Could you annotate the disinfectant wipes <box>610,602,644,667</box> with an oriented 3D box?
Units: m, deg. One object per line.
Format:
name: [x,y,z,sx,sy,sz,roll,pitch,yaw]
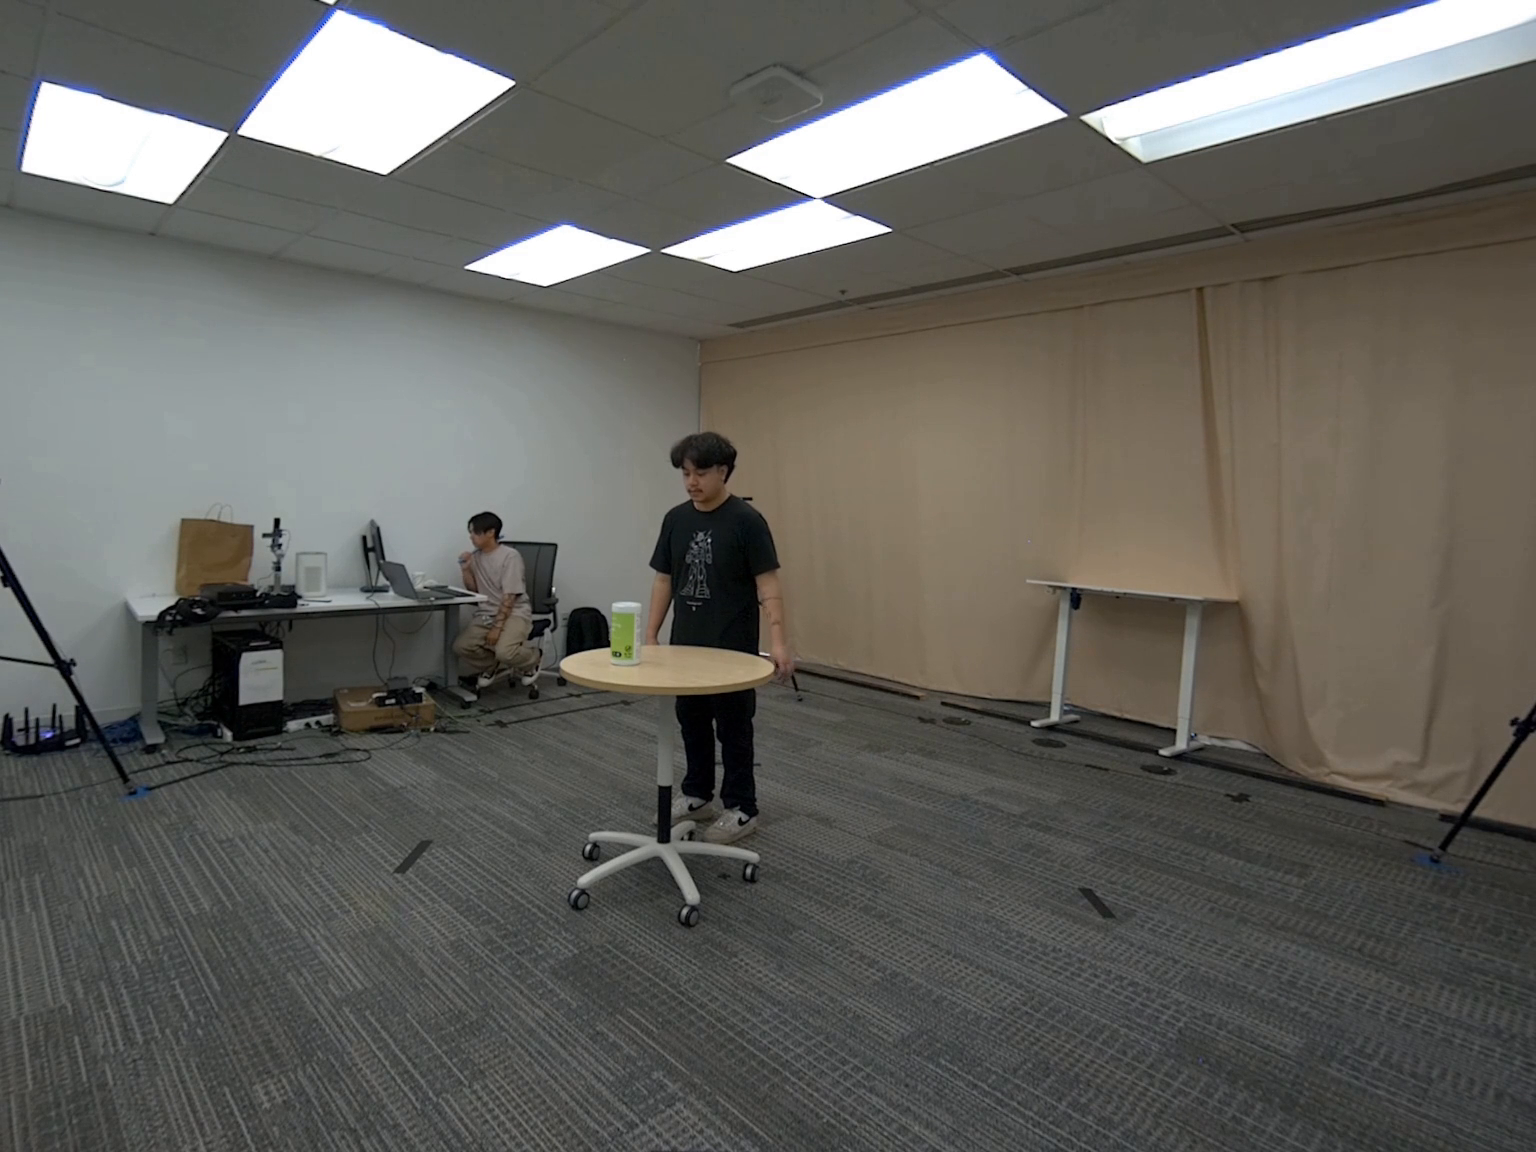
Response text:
disinfectant wipes: [-0.514,0.206,3.008,0.118,0.217,0.118,1,4,-1]
